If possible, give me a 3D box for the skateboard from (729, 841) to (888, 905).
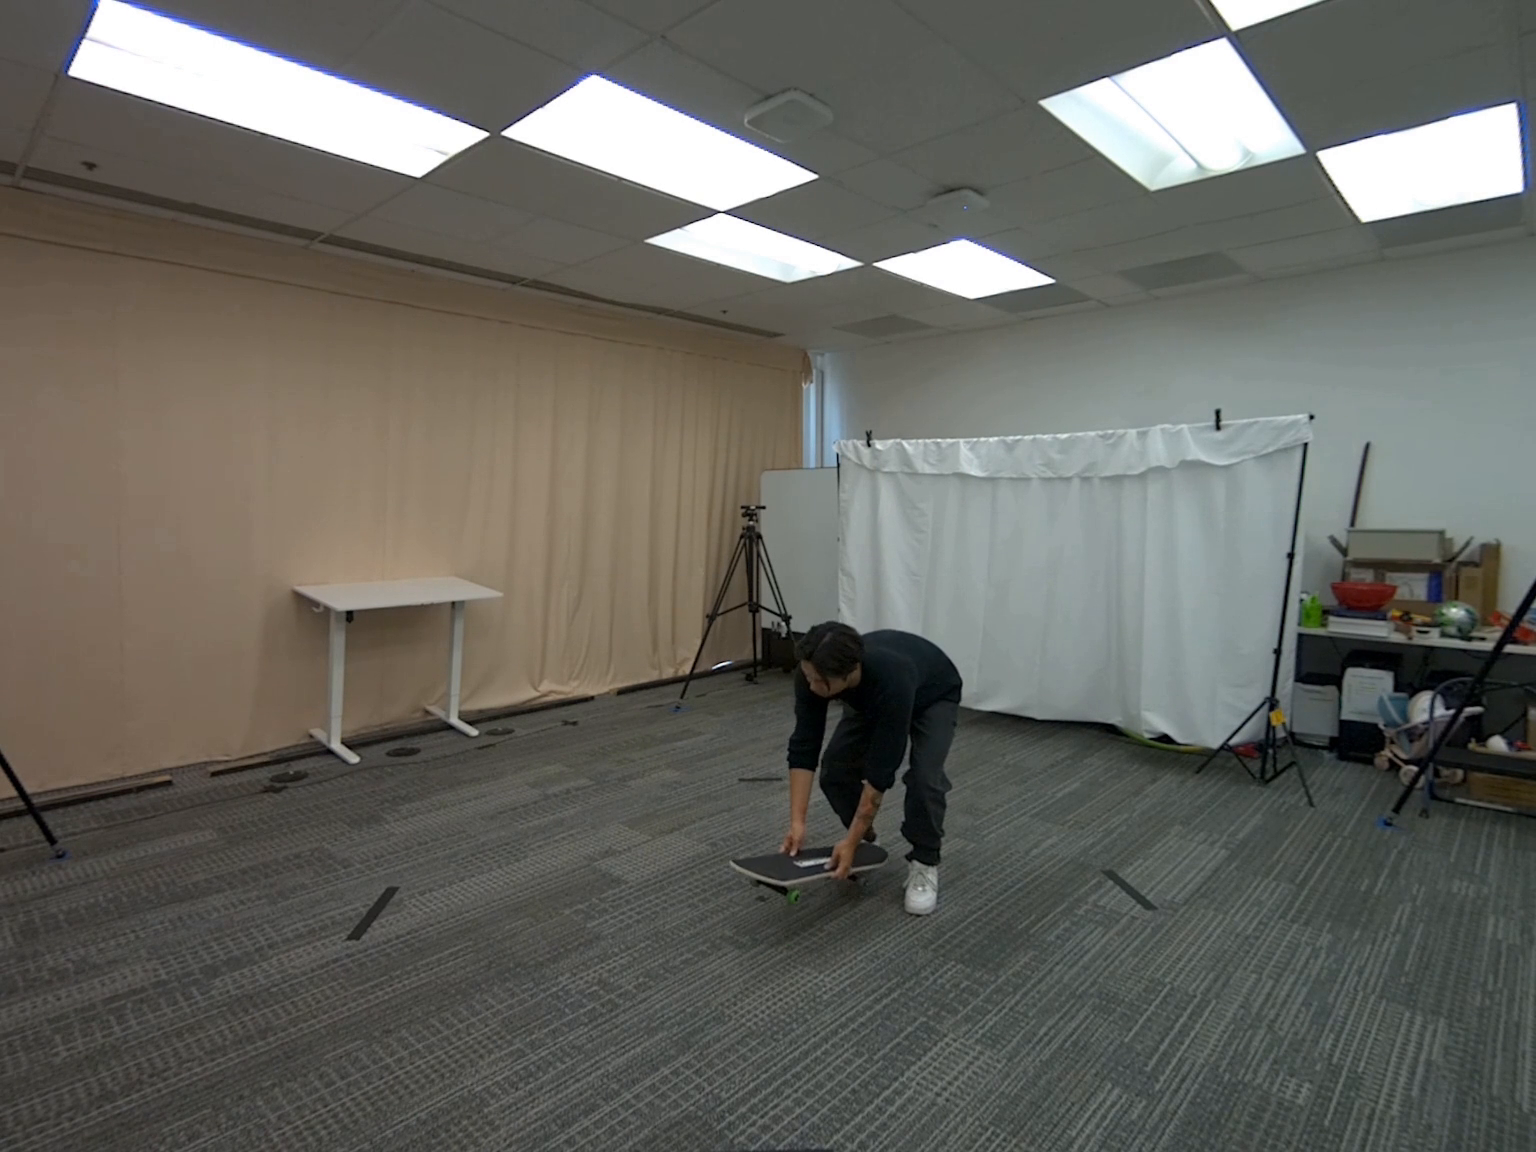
[{"bbox_3d":[0.160,1.001,2.838,0.200,0.110,0.758,8,-4,42],"label":"skateboard"}]
